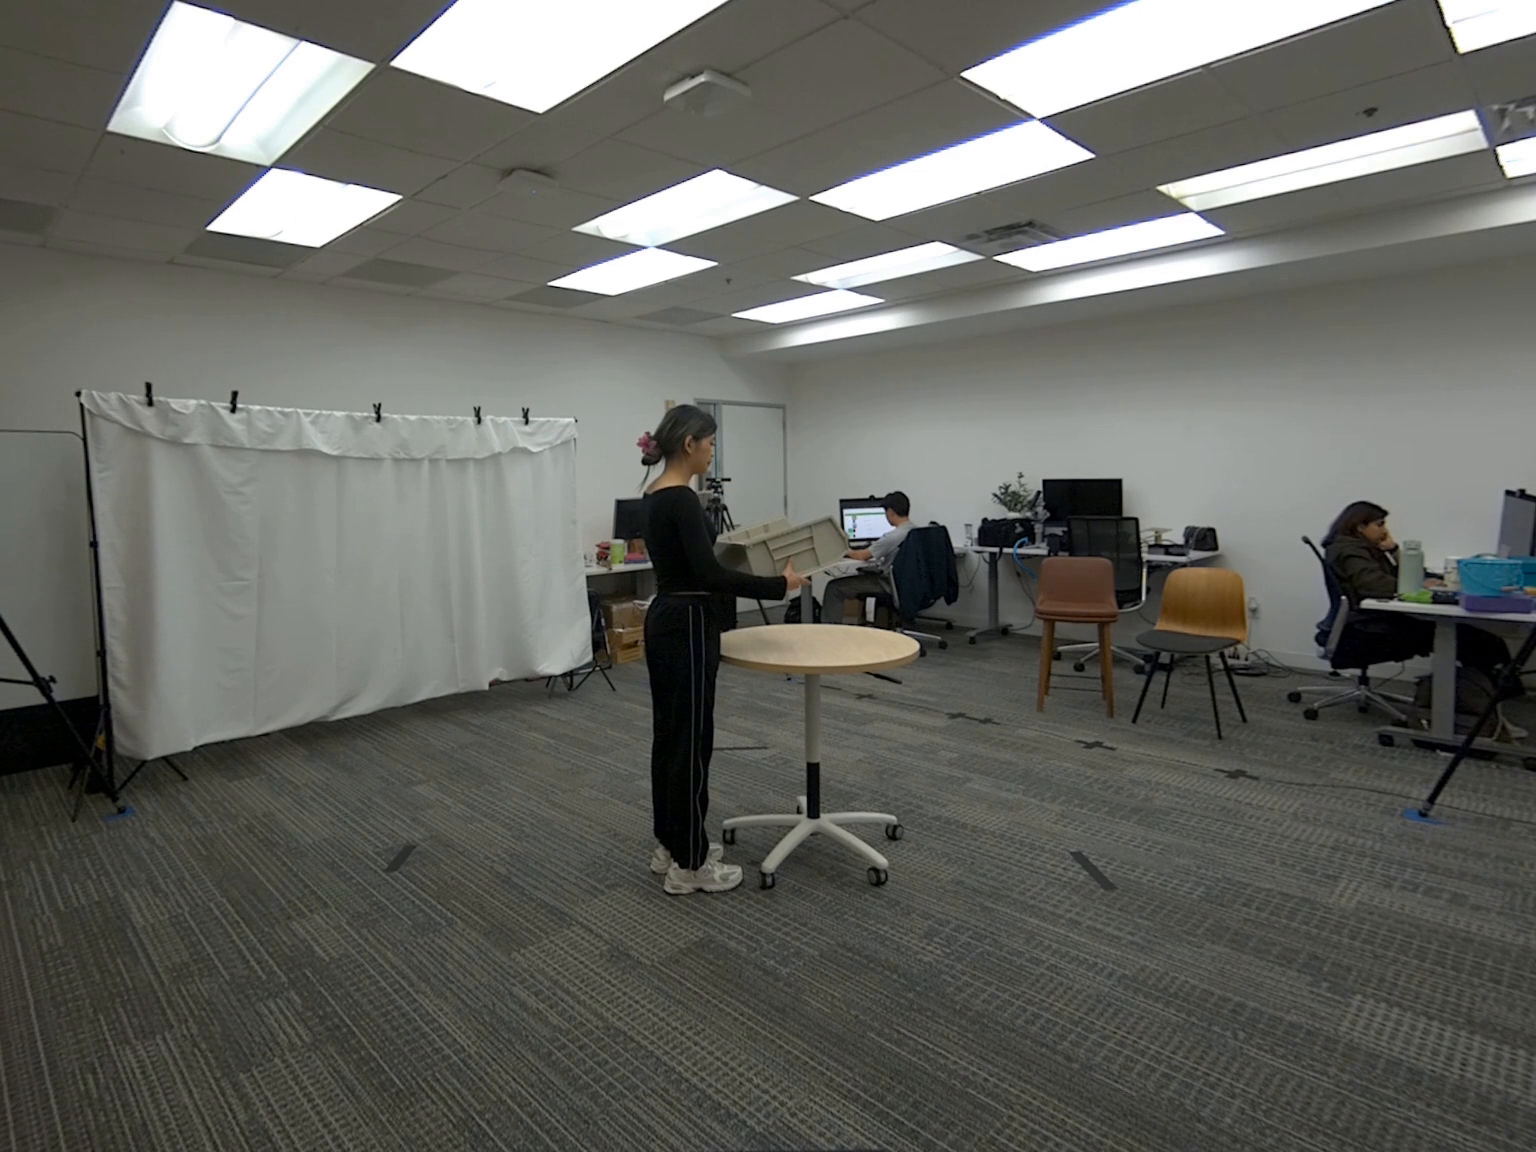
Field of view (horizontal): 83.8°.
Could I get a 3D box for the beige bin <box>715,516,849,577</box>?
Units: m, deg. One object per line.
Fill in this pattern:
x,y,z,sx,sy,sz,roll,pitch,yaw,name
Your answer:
0.035,-0.095,3.109,0.373,0.187,0.431,-20,10,-20,beige bin
